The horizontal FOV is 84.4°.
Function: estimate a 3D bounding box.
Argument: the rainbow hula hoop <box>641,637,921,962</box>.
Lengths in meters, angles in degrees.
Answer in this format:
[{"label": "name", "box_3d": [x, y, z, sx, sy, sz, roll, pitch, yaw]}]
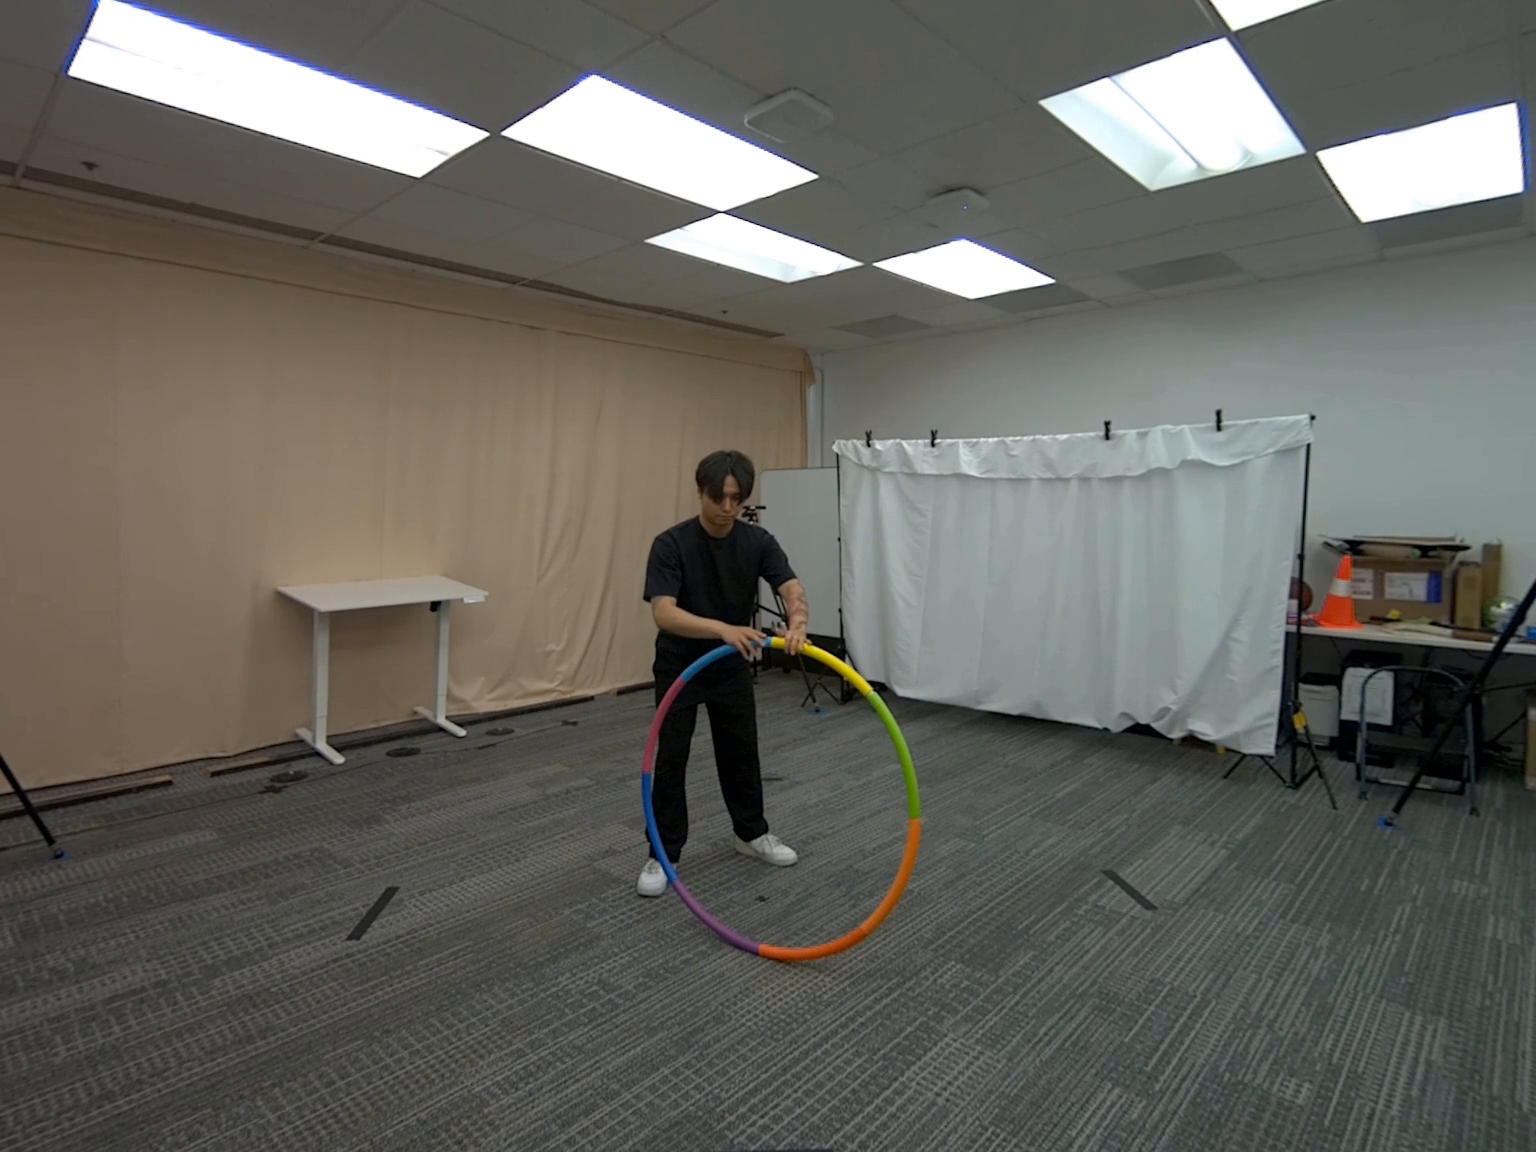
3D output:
[{"label": "rainbow hula hoop", "box_3d": [0.008, 0.693, 2.648, 1.007, 0.980, 0.034, 2, -4, 31]}]
